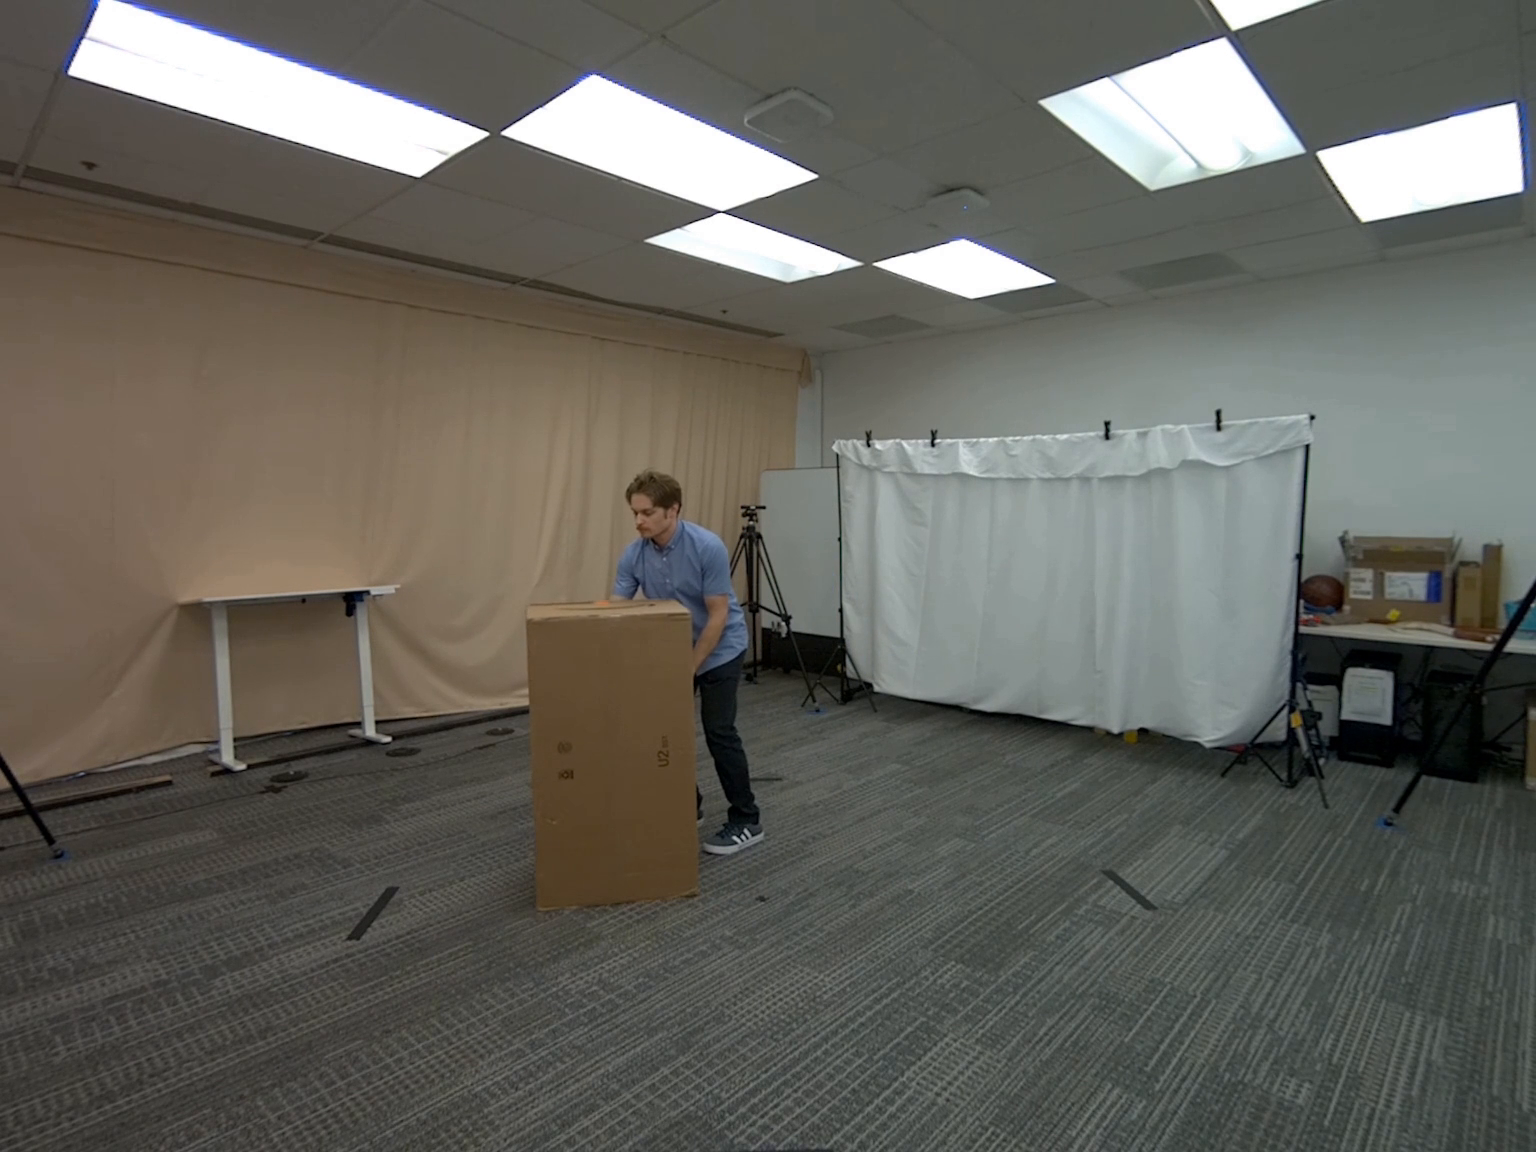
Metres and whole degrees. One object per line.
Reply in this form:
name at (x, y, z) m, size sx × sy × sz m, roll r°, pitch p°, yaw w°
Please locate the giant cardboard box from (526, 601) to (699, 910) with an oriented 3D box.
giant cardboard box at (-0.592, 0.633, 3.130) m, size 0.571 × 1.023 × 0.432 m, roll -2°, pitch 4°, yaw -11°
